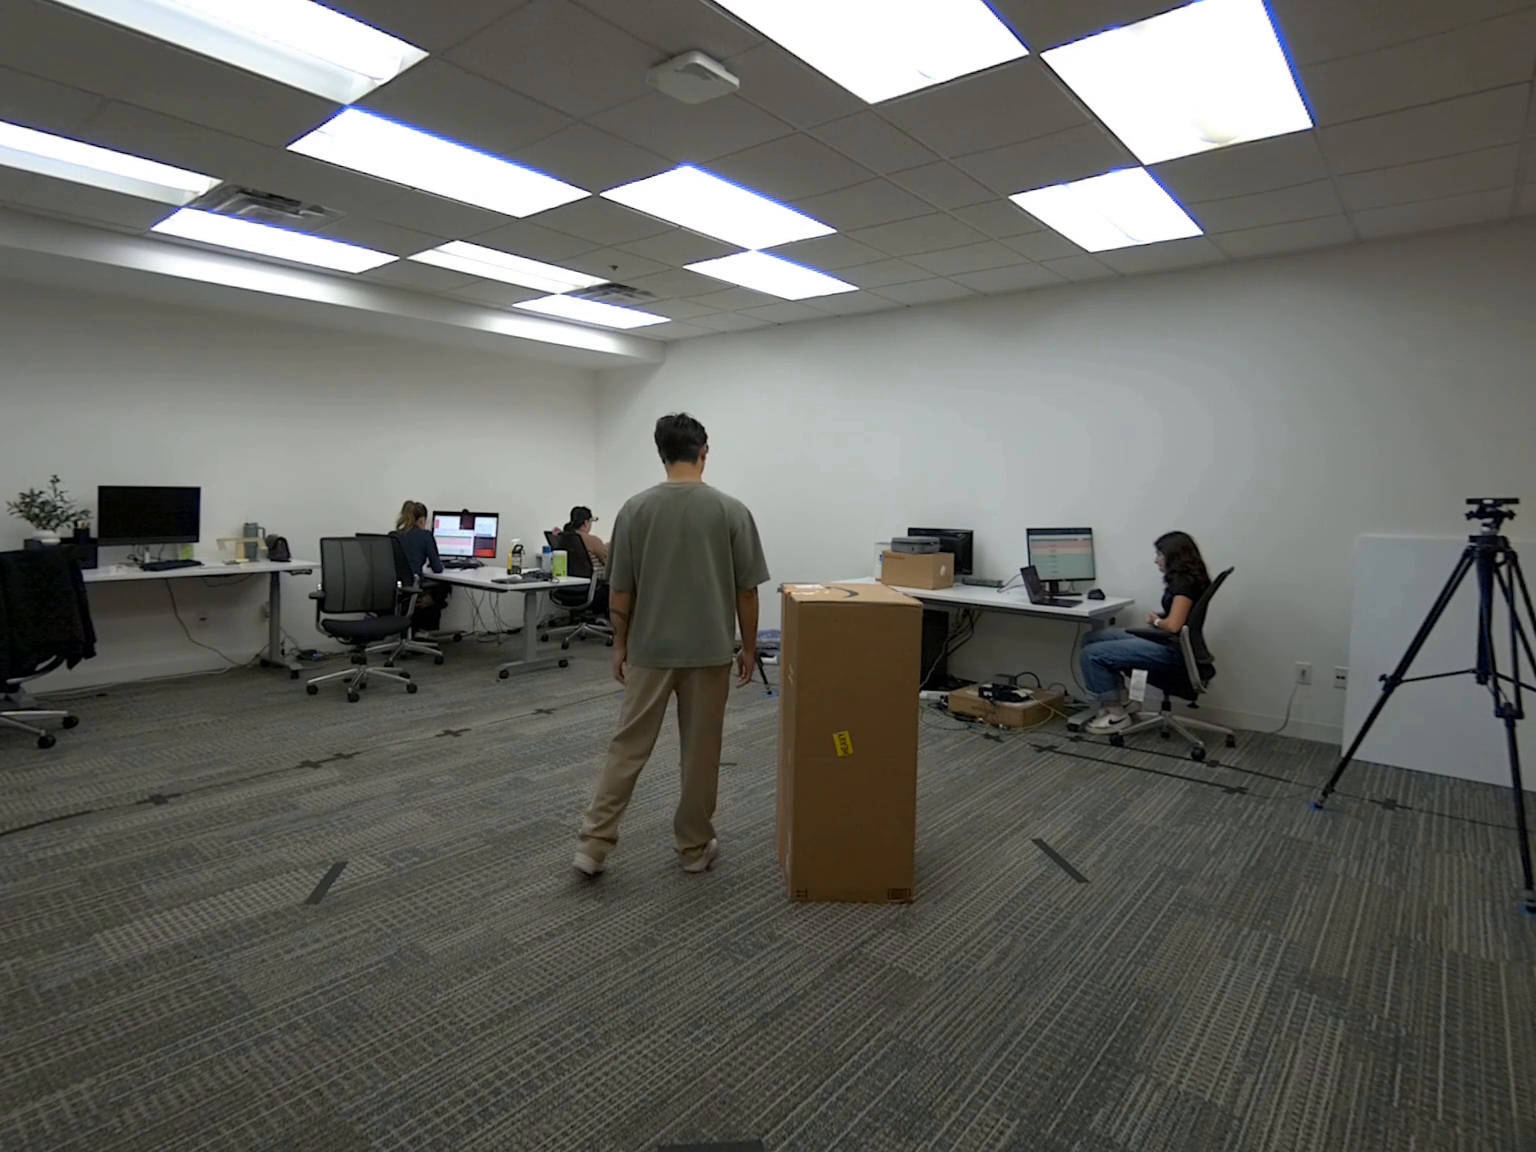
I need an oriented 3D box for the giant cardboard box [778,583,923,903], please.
[{"bbox_3d":[0.267,0.565,3.139,0.424,1.023,0.582,2,3,-5],"label":"giant cardboard box"}]
